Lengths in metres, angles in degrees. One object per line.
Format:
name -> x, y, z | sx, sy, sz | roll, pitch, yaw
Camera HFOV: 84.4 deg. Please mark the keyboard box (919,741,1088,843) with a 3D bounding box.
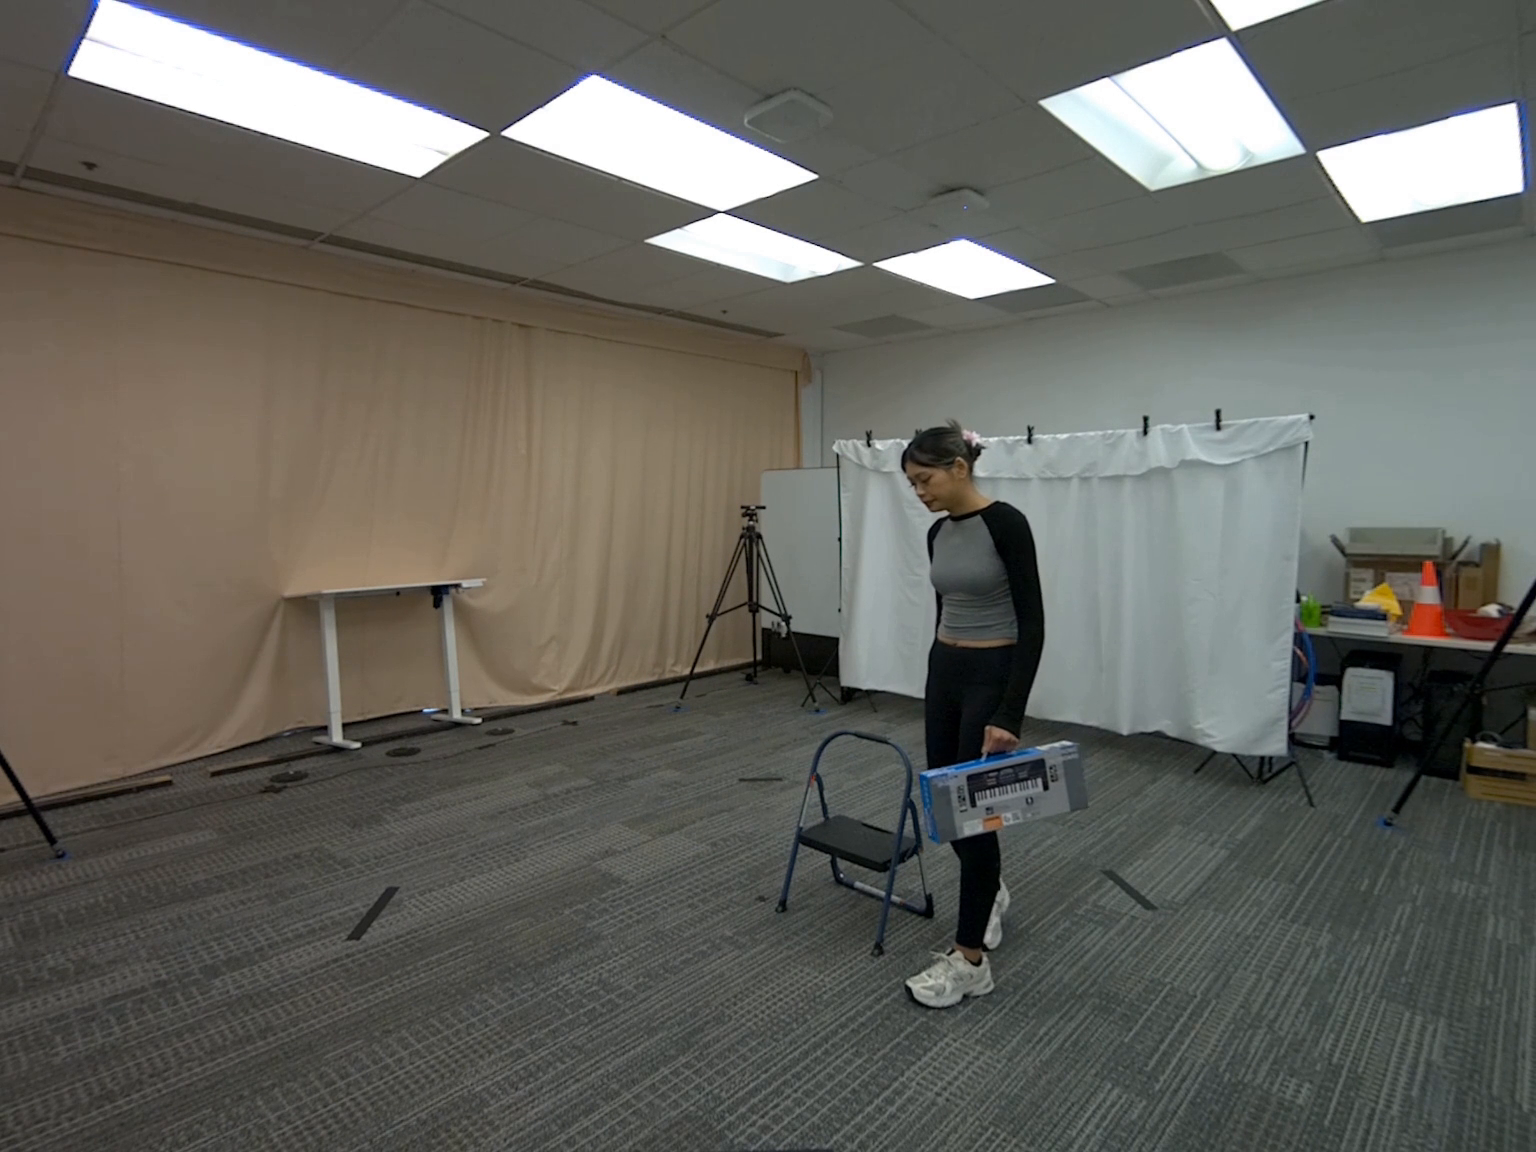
keyboard box -> 0.621, 0.558, 2.199 | 0.431, 0.176, 0.060 | -9, 1, -13
